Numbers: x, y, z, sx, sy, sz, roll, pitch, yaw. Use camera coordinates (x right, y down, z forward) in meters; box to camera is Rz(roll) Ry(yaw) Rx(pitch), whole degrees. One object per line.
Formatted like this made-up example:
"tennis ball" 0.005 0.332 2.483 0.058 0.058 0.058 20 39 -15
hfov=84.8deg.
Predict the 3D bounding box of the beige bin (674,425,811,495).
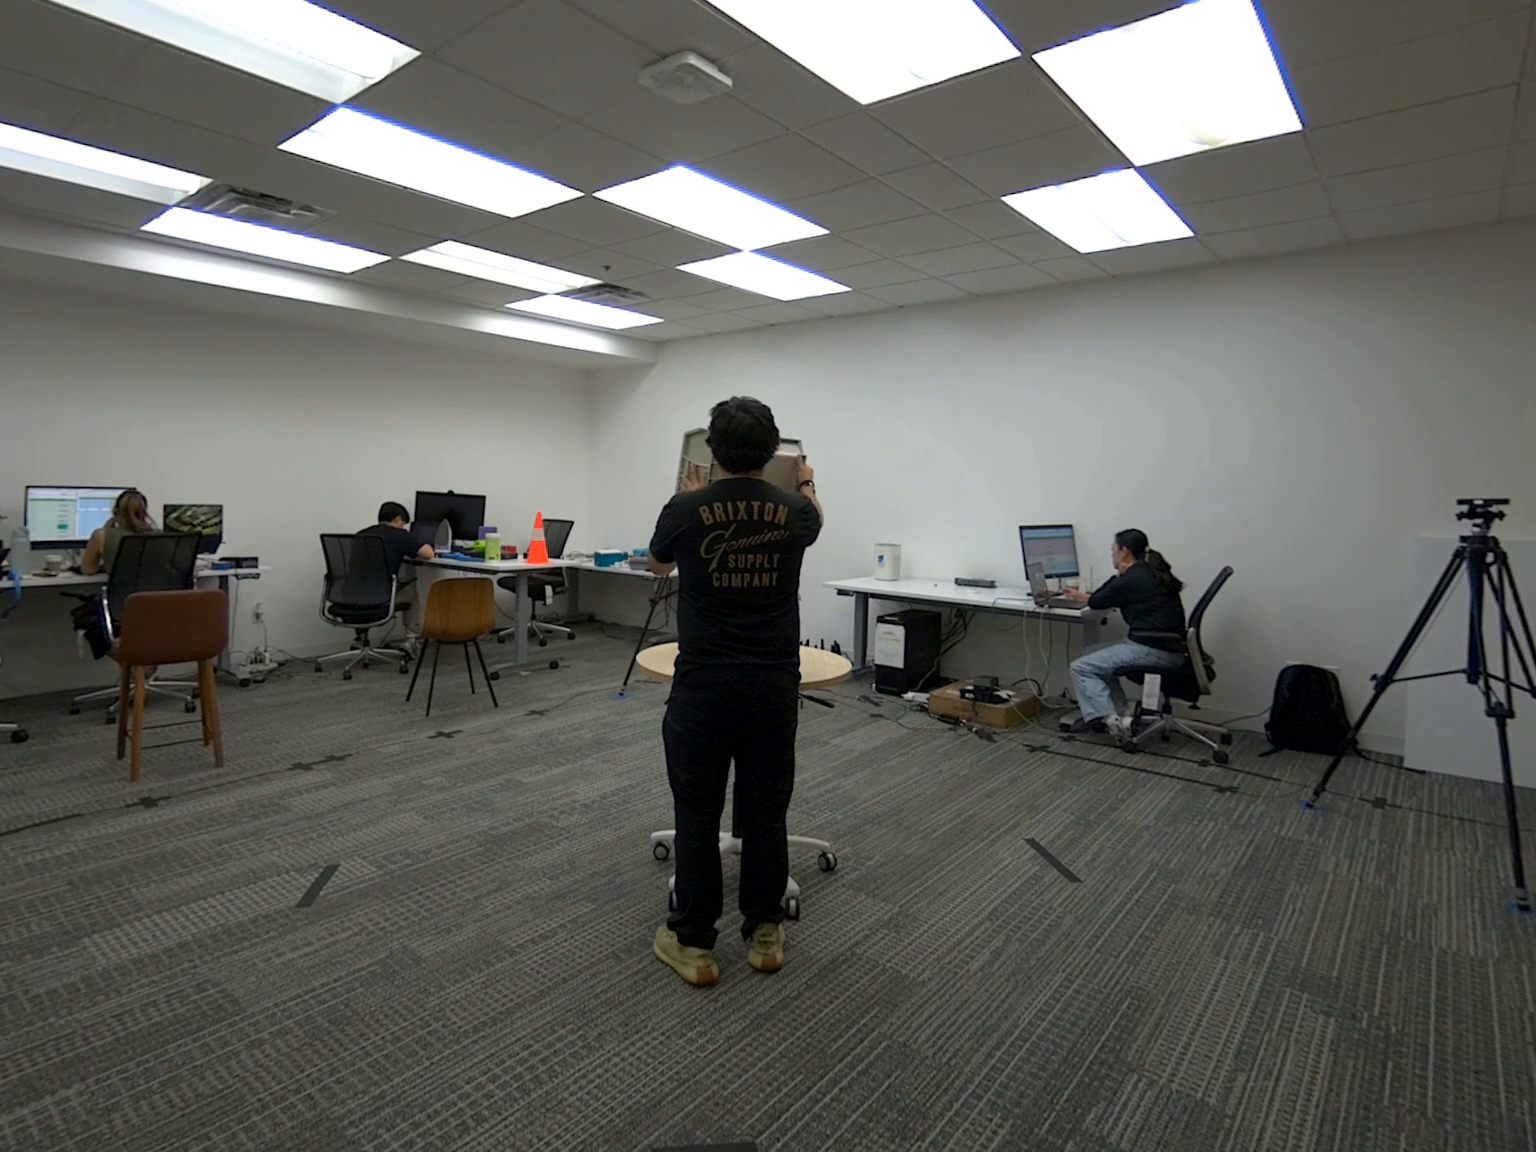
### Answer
"beige bin" -0.101 -0.315 2.980 0.409 0.374 0.196 0 14 -39
